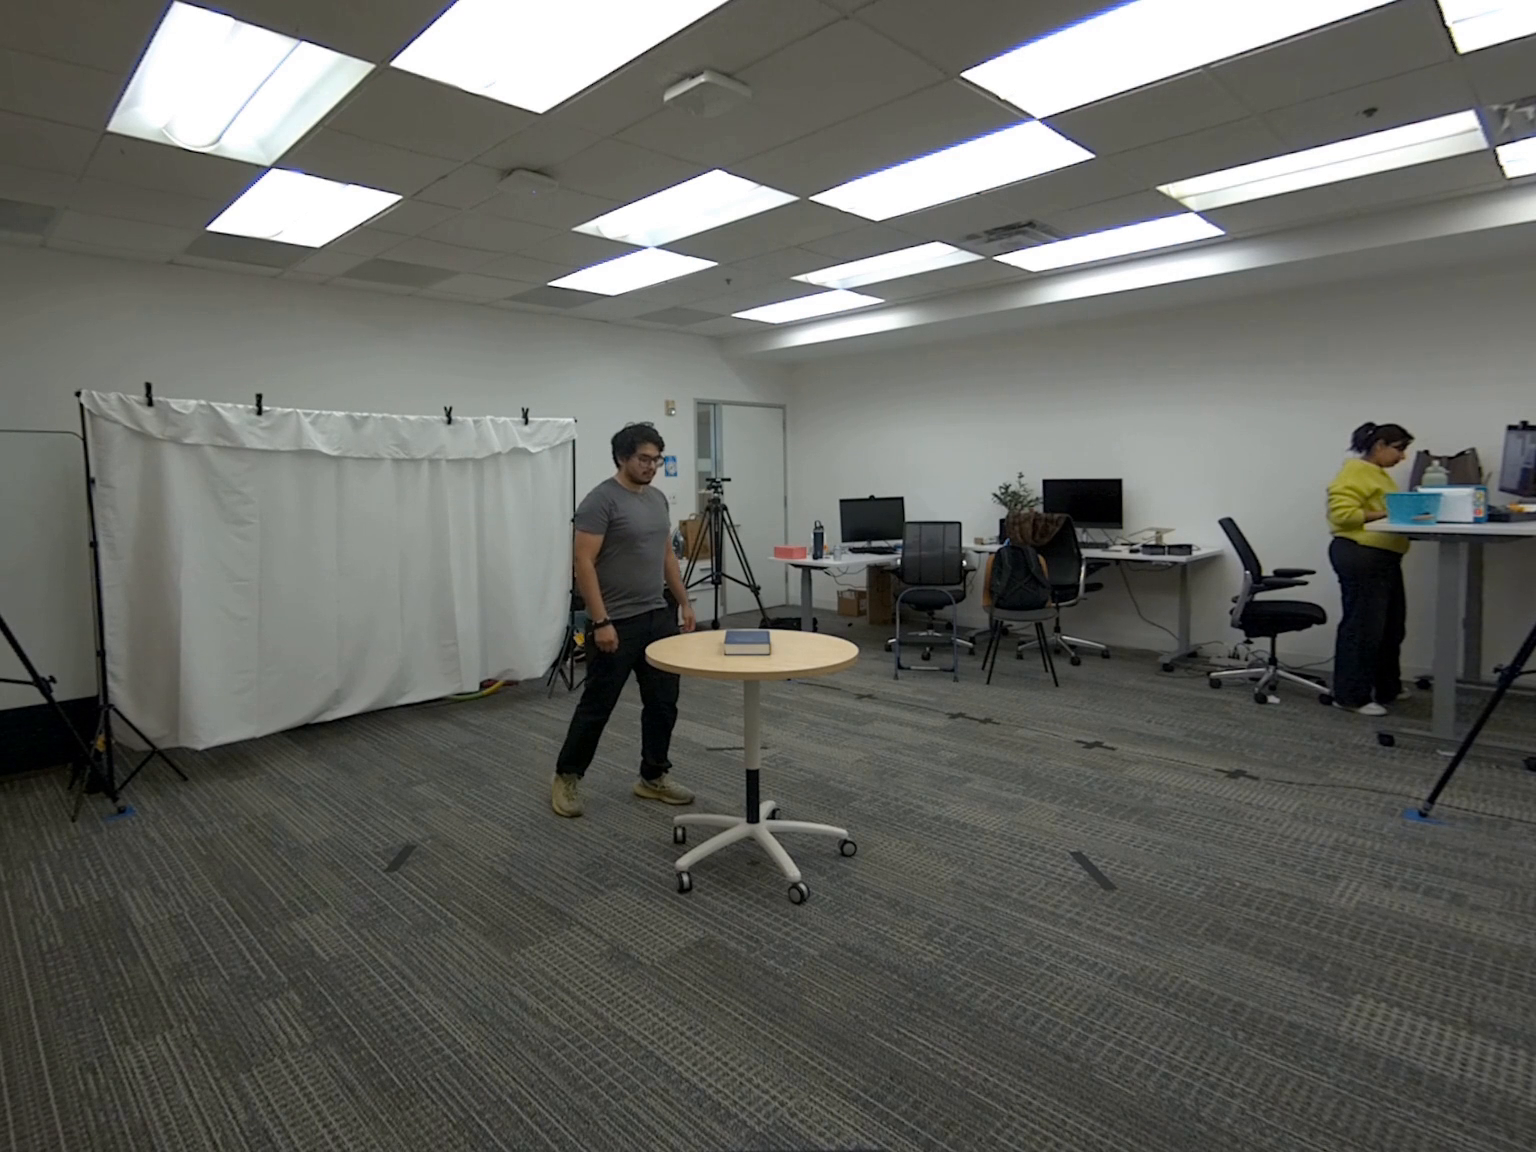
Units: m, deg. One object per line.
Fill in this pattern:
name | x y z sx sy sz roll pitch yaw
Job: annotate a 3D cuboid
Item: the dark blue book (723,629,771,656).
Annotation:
dark blue book | -0.069 0.241 3.083 0.163 0.045 0.246 -1 6 0
